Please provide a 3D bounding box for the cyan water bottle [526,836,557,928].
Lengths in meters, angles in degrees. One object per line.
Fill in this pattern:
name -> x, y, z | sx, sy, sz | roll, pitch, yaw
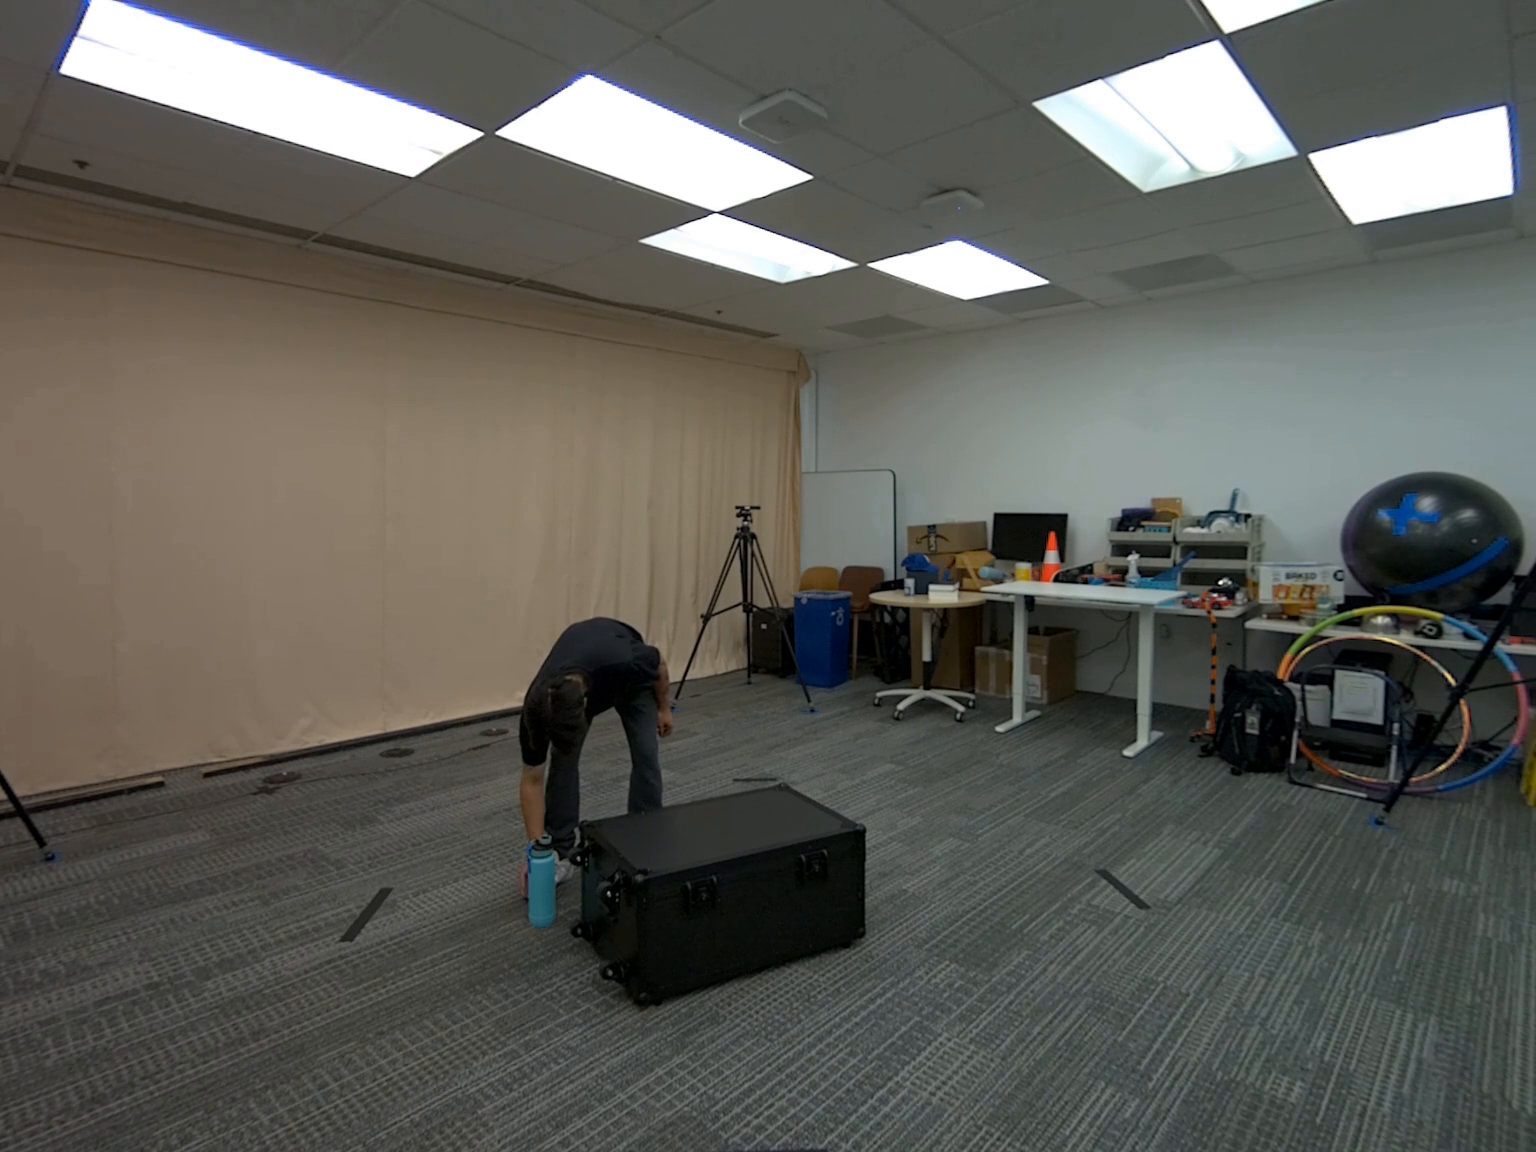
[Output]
cyan water bottle -> -0.758, 1.023, 2.830 | 0.092, 0.283, 0.092 | -2, 2, -2
